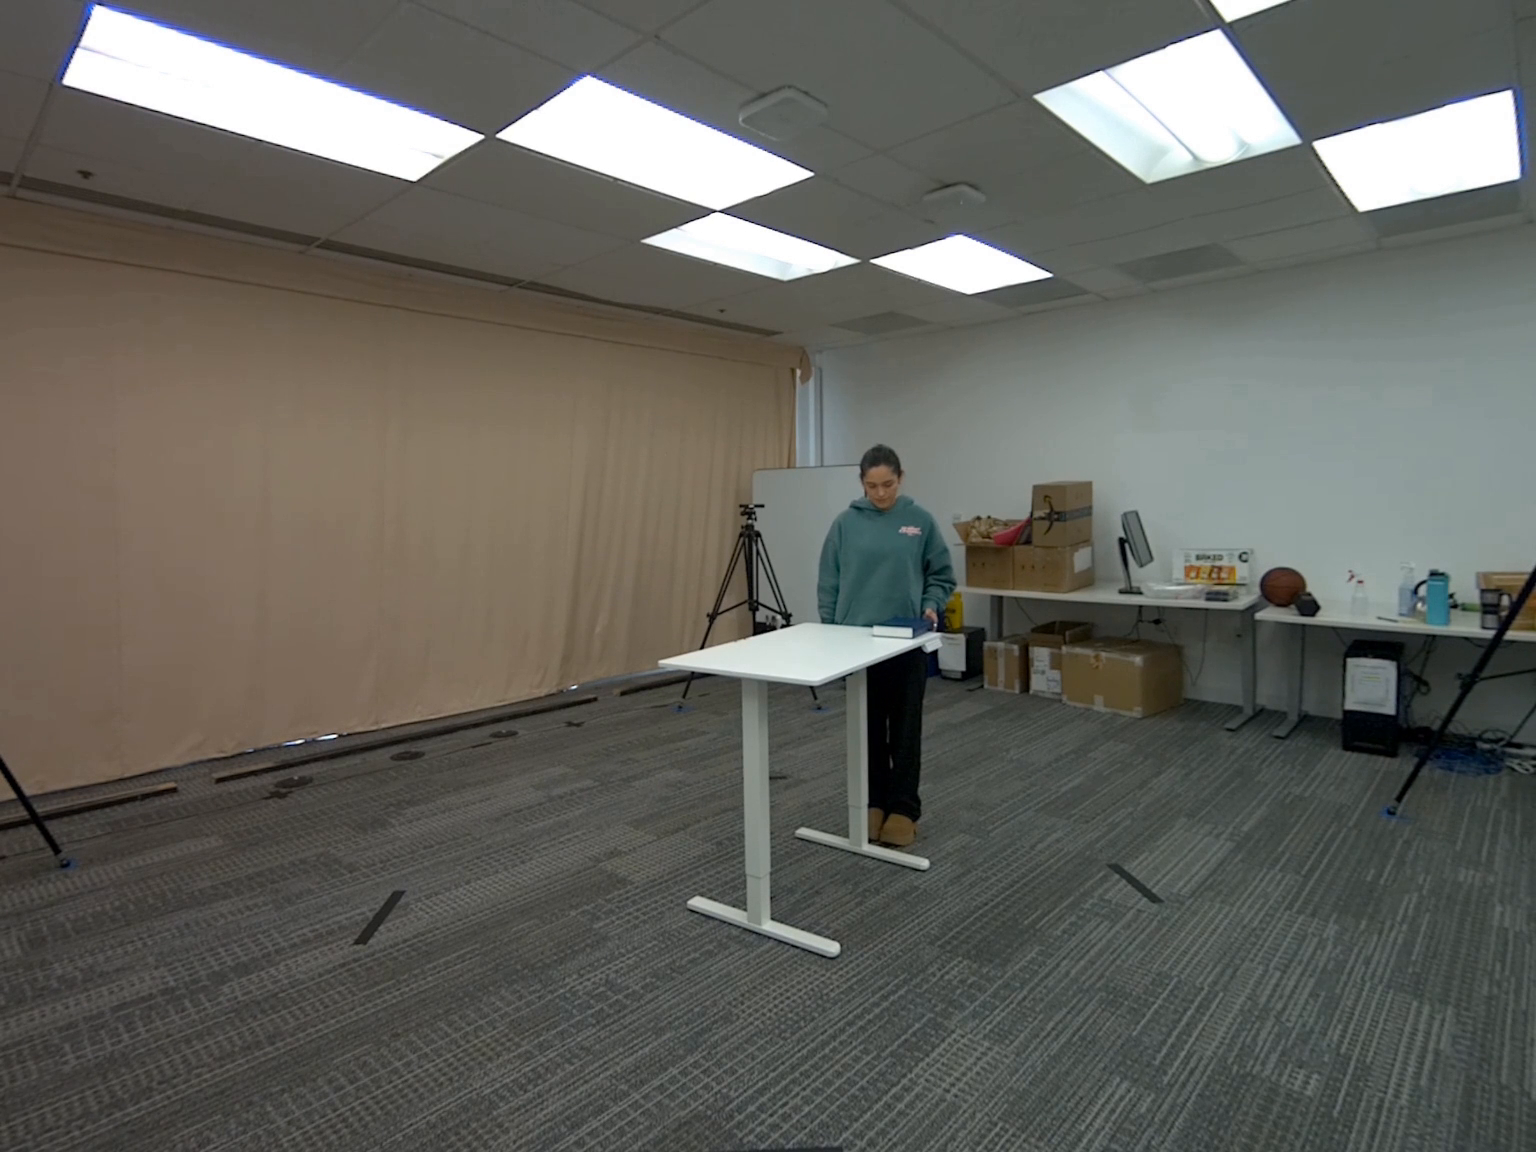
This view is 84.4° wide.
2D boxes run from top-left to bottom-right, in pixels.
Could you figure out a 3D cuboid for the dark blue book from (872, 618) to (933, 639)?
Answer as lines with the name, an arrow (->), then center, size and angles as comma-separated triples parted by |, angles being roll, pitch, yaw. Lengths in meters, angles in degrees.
dark blue book -> 0.530, 0.202, 3.263 | 0.168, 0.045, 0.239 | 3, 6, 30
